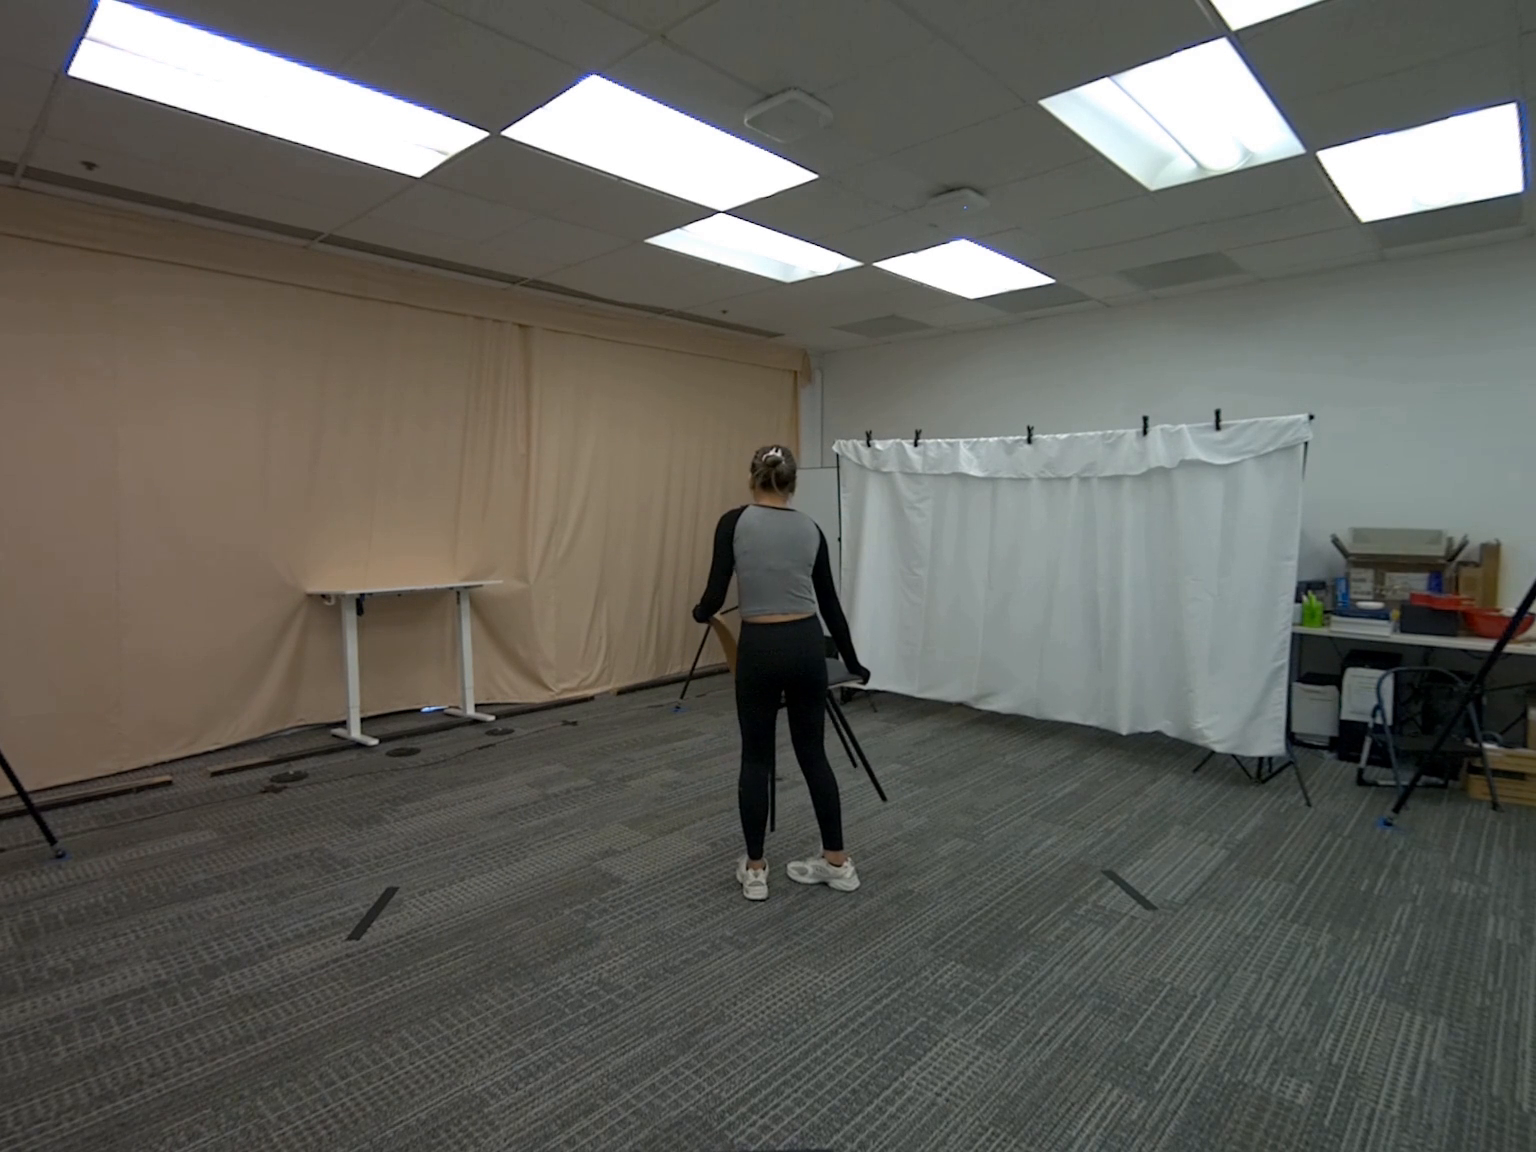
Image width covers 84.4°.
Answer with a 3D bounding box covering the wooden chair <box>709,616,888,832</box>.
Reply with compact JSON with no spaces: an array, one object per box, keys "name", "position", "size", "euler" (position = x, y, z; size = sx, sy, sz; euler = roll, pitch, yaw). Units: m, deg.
[{"name":"wooden chair","position":[0.115,0.472,3.344],"size":[0.521,0.874,0.481],"euler":[-18,4,-5]}]
